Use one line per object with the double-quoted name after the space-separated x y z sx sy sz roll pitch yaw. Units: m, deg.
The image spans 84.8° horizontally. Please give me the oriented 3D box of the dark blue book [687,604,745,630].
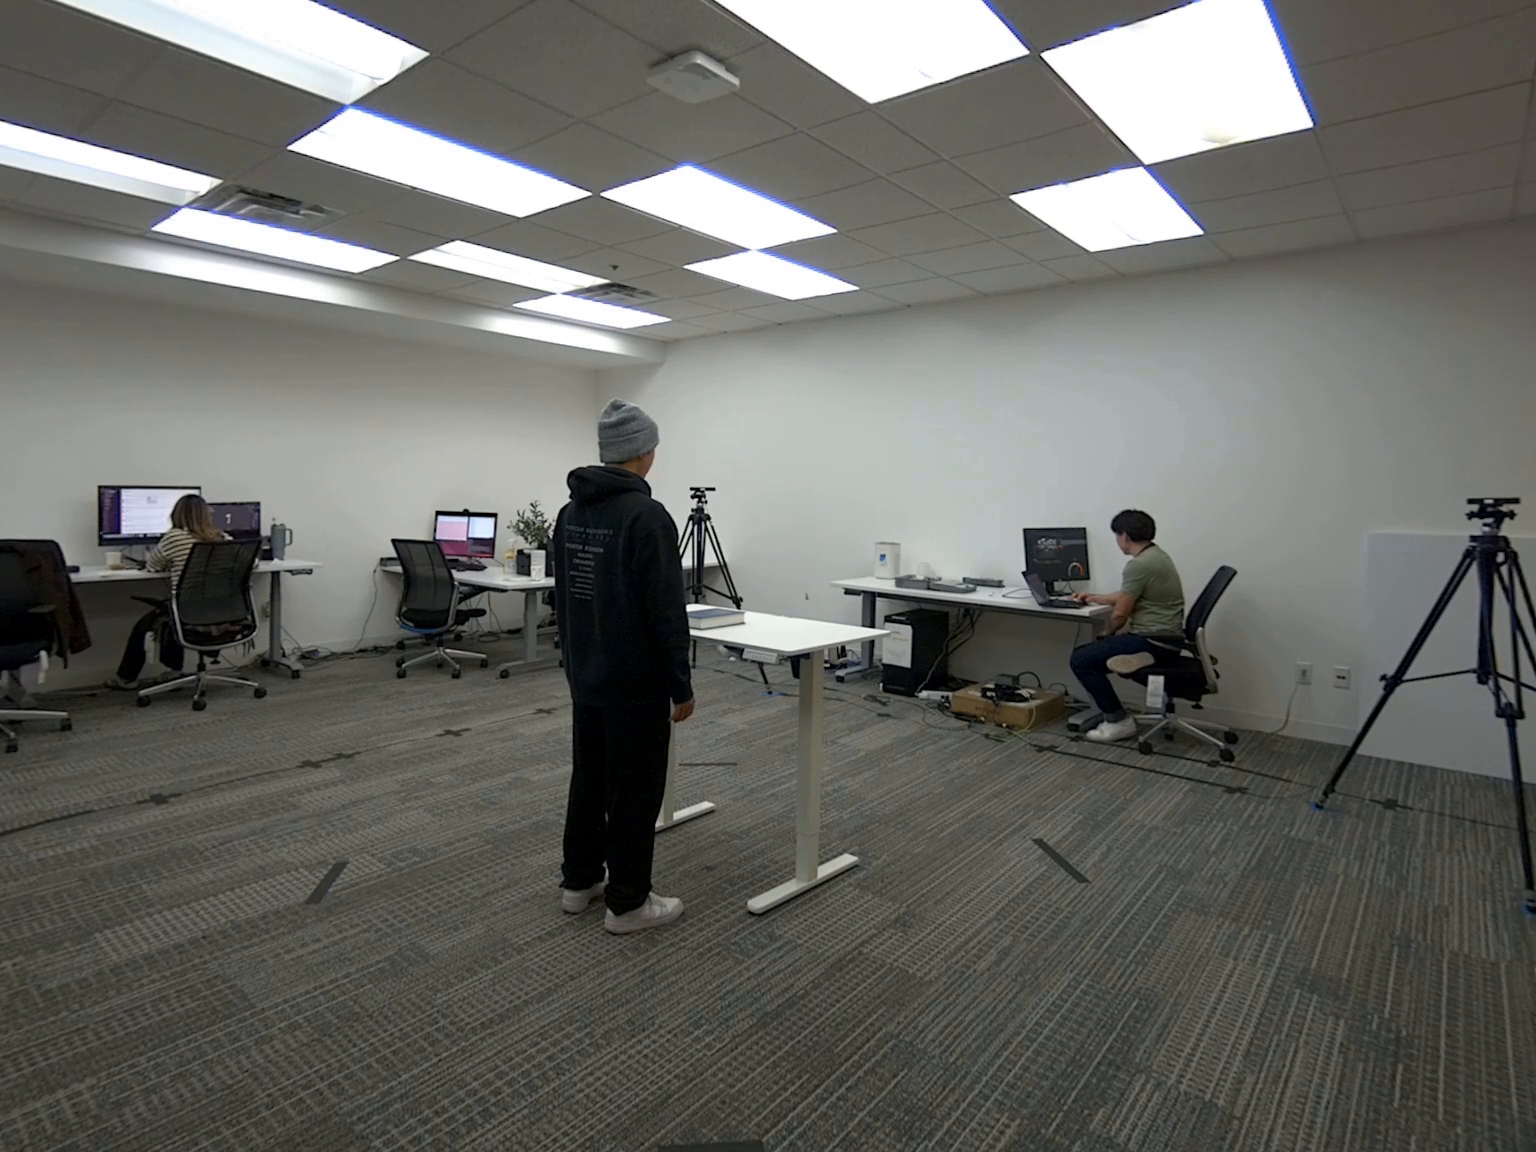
-0.226 0.159 3.174 0.169 0.045 0.238 5 7 41 "dark blue book"
